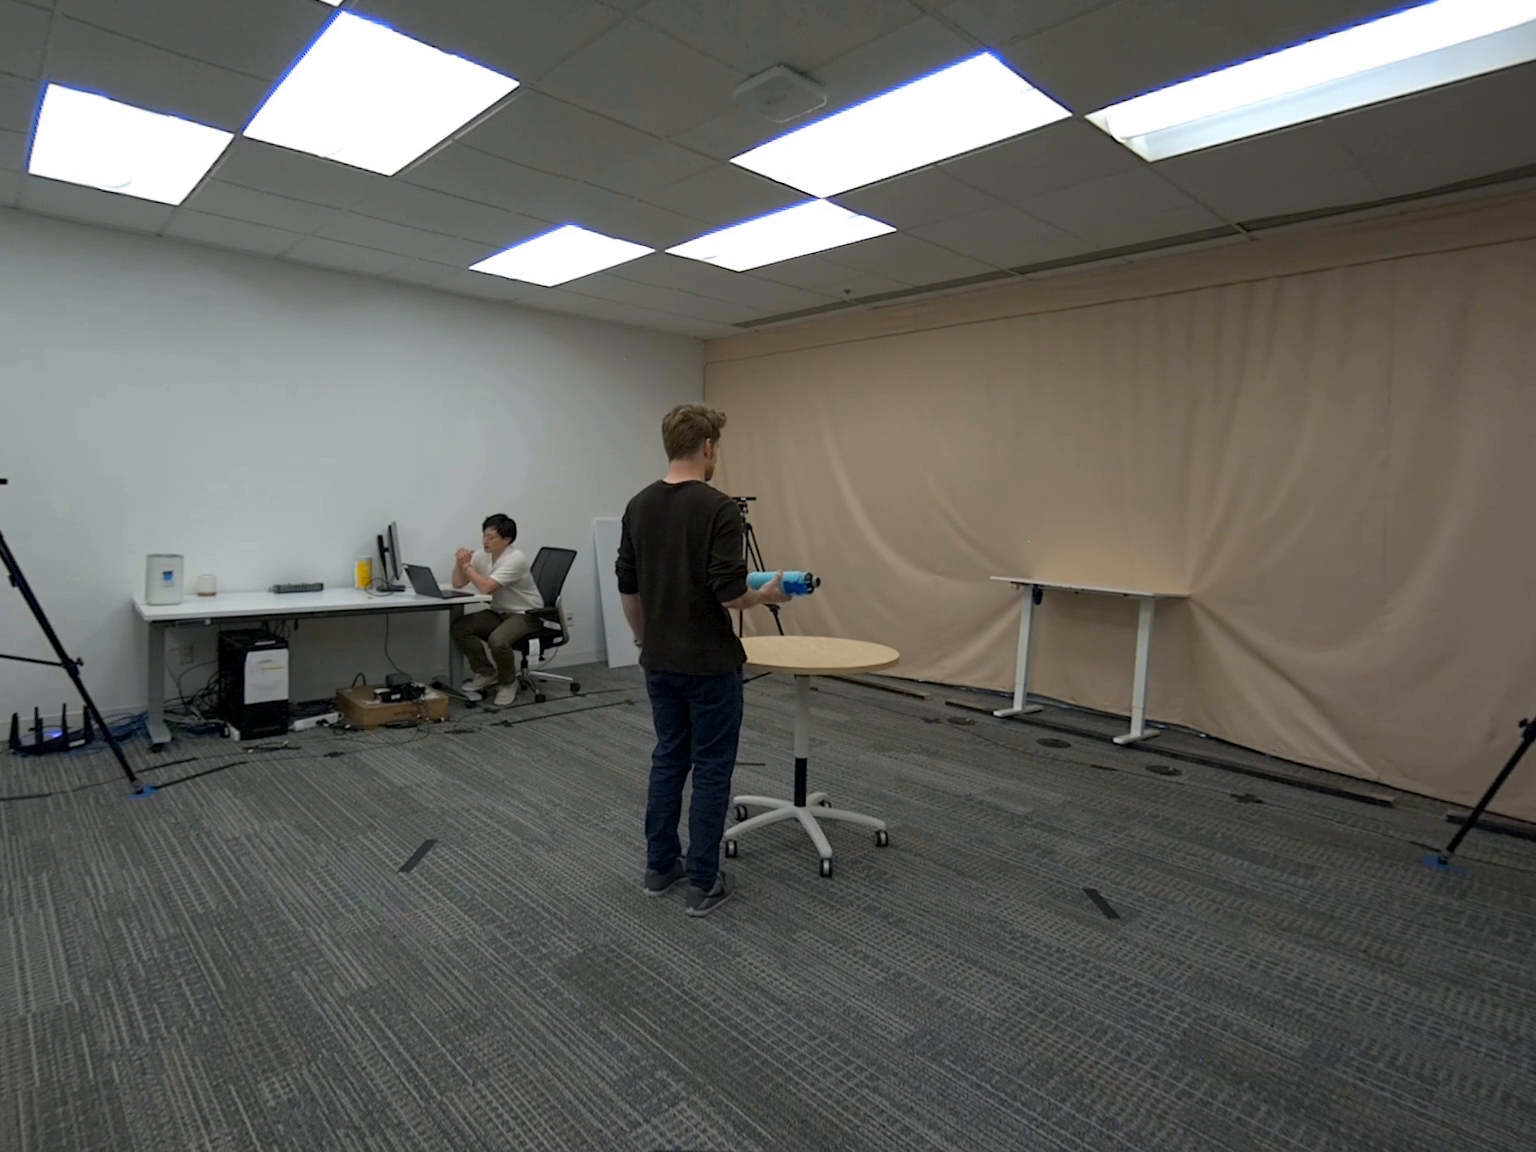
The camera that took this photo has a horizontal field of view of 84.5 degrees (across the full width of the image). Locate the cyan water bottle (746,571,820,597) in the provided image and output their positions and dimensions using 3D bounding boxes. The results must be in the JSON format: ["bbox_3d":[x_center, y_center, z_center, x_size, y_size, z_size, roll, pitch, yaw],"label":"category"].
[{"bbox_3d":[0.051,0.026,3.043,0.290,0.092,0.090,-1,2,38],"label":"cyan water bottle"}]
